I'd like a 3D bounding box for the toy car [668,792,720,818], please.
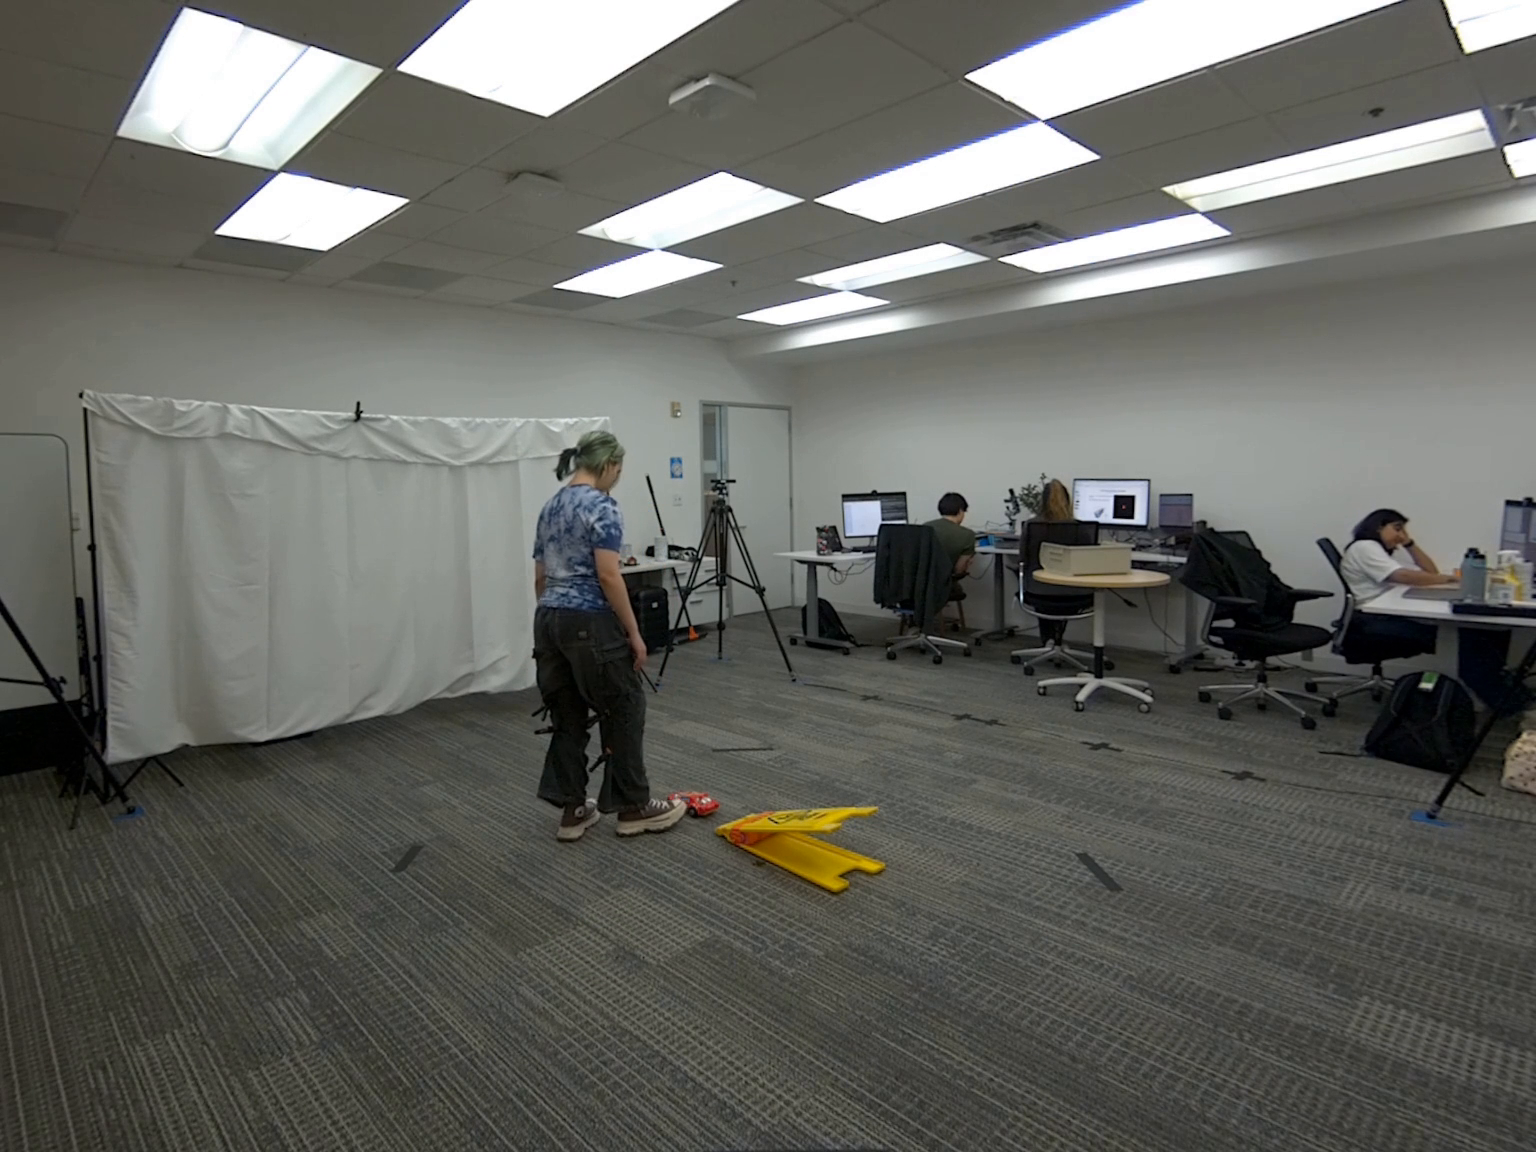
[{"bbox_3d":[-0.317,0.964,3.615,0.260,0.083,0.127,-11,-3,44],"label":"toy car"}]
